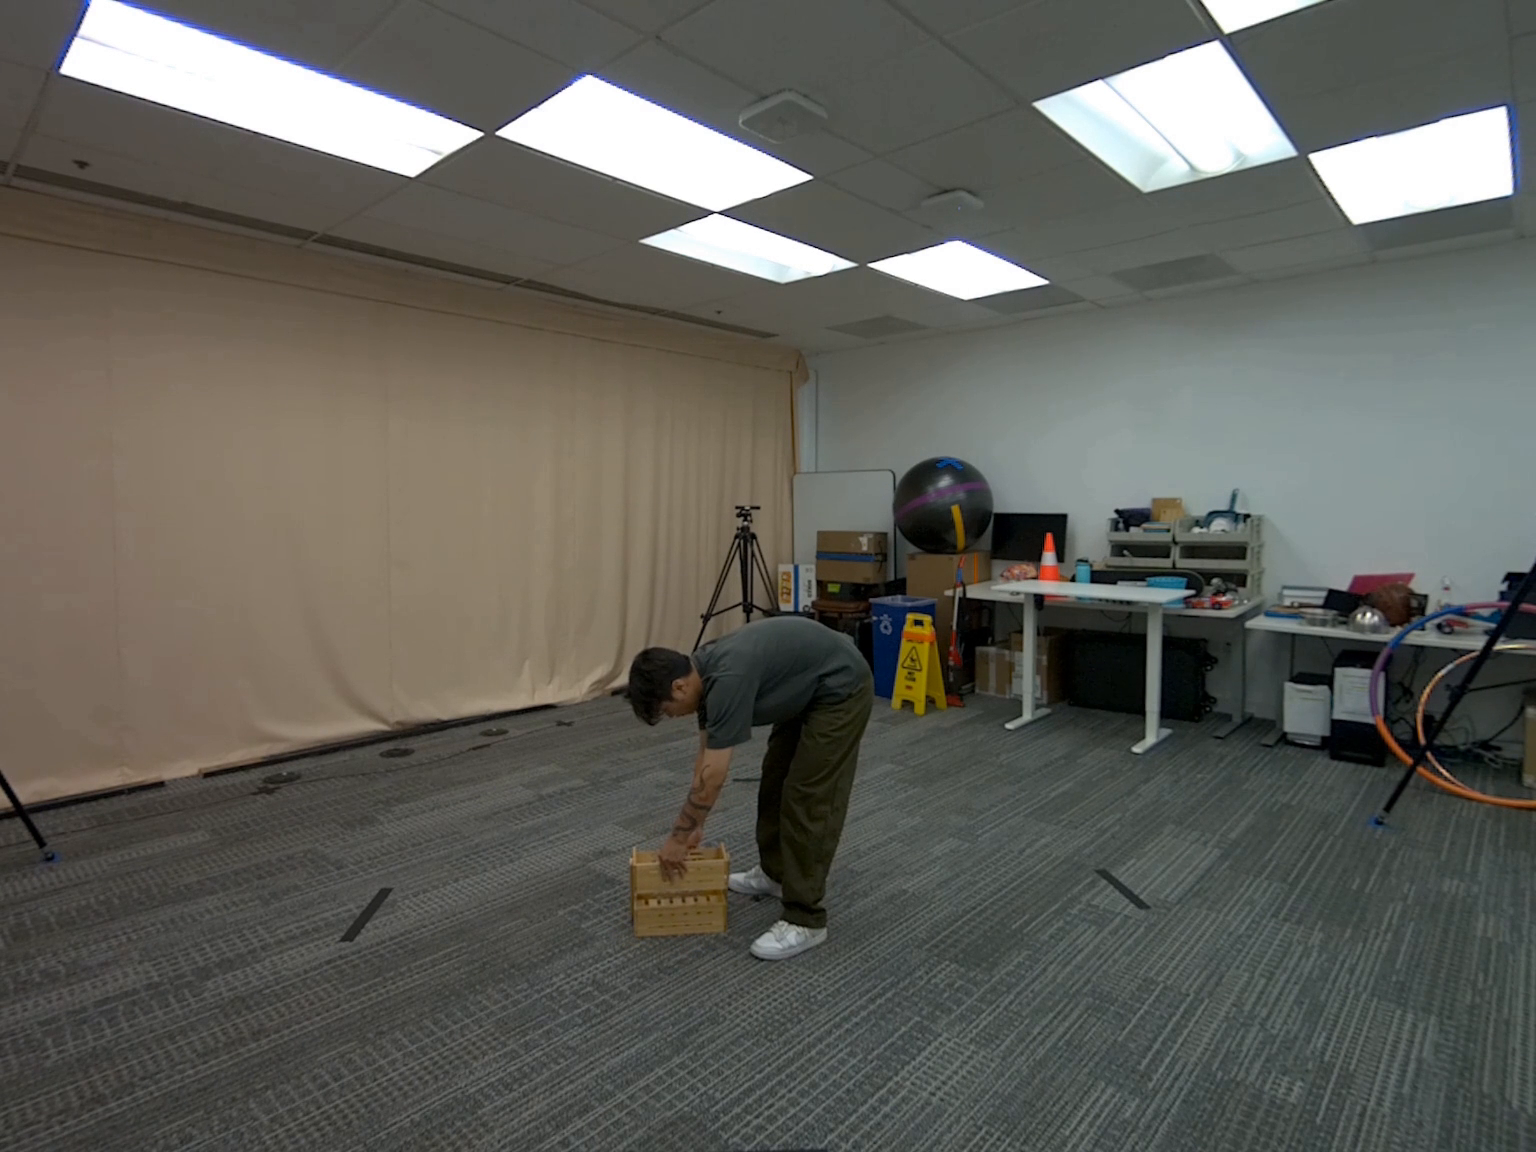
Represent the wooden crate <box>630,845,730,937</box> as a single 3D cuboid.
[{"bbox_3d":[-0.305,1.027,2.837,0.322,0.272,0.305,-2,5,-7],"label":"wooden crate"}]
